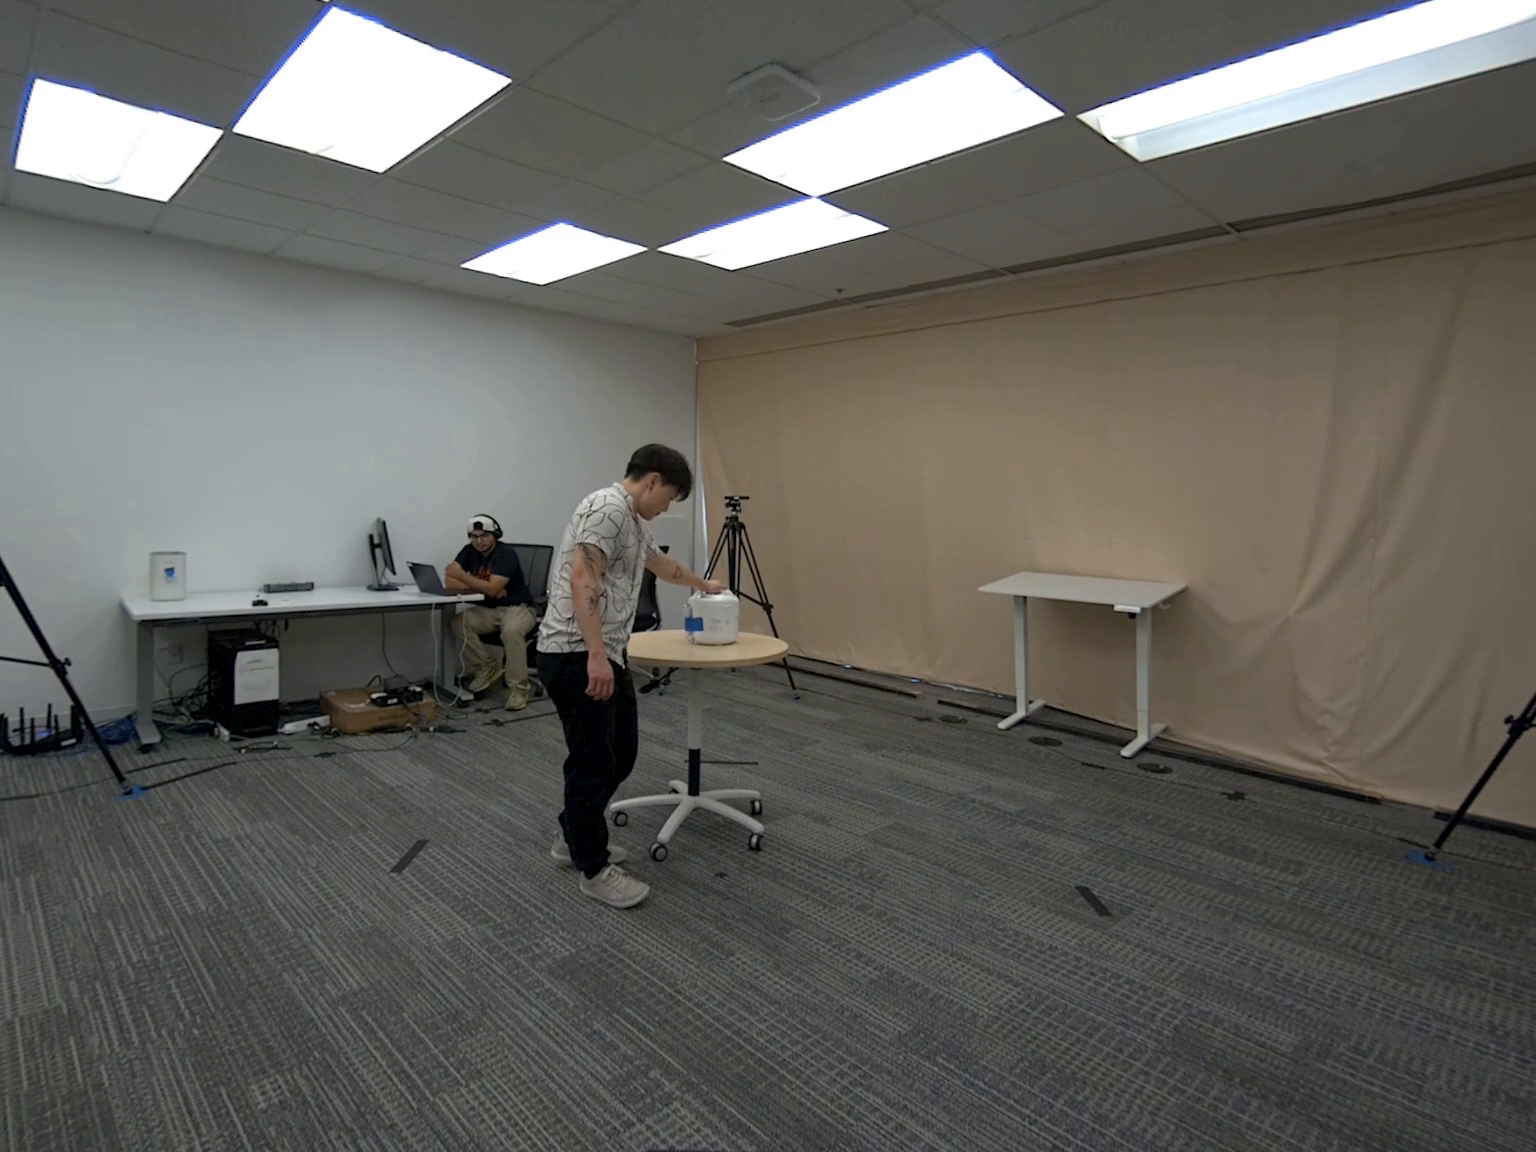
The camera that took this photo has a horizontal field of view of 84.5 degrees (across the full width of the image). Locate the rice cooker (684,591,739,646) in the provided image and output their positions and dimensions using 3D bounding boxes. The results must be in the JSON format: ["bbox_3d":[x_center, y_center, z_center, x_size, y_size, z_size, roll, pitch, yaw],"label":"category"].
[{"bbox_3d":[-0.234,0.165,3.555,0.224,0.232,0.214,4,5,21],"label":"rice cooker"}]
